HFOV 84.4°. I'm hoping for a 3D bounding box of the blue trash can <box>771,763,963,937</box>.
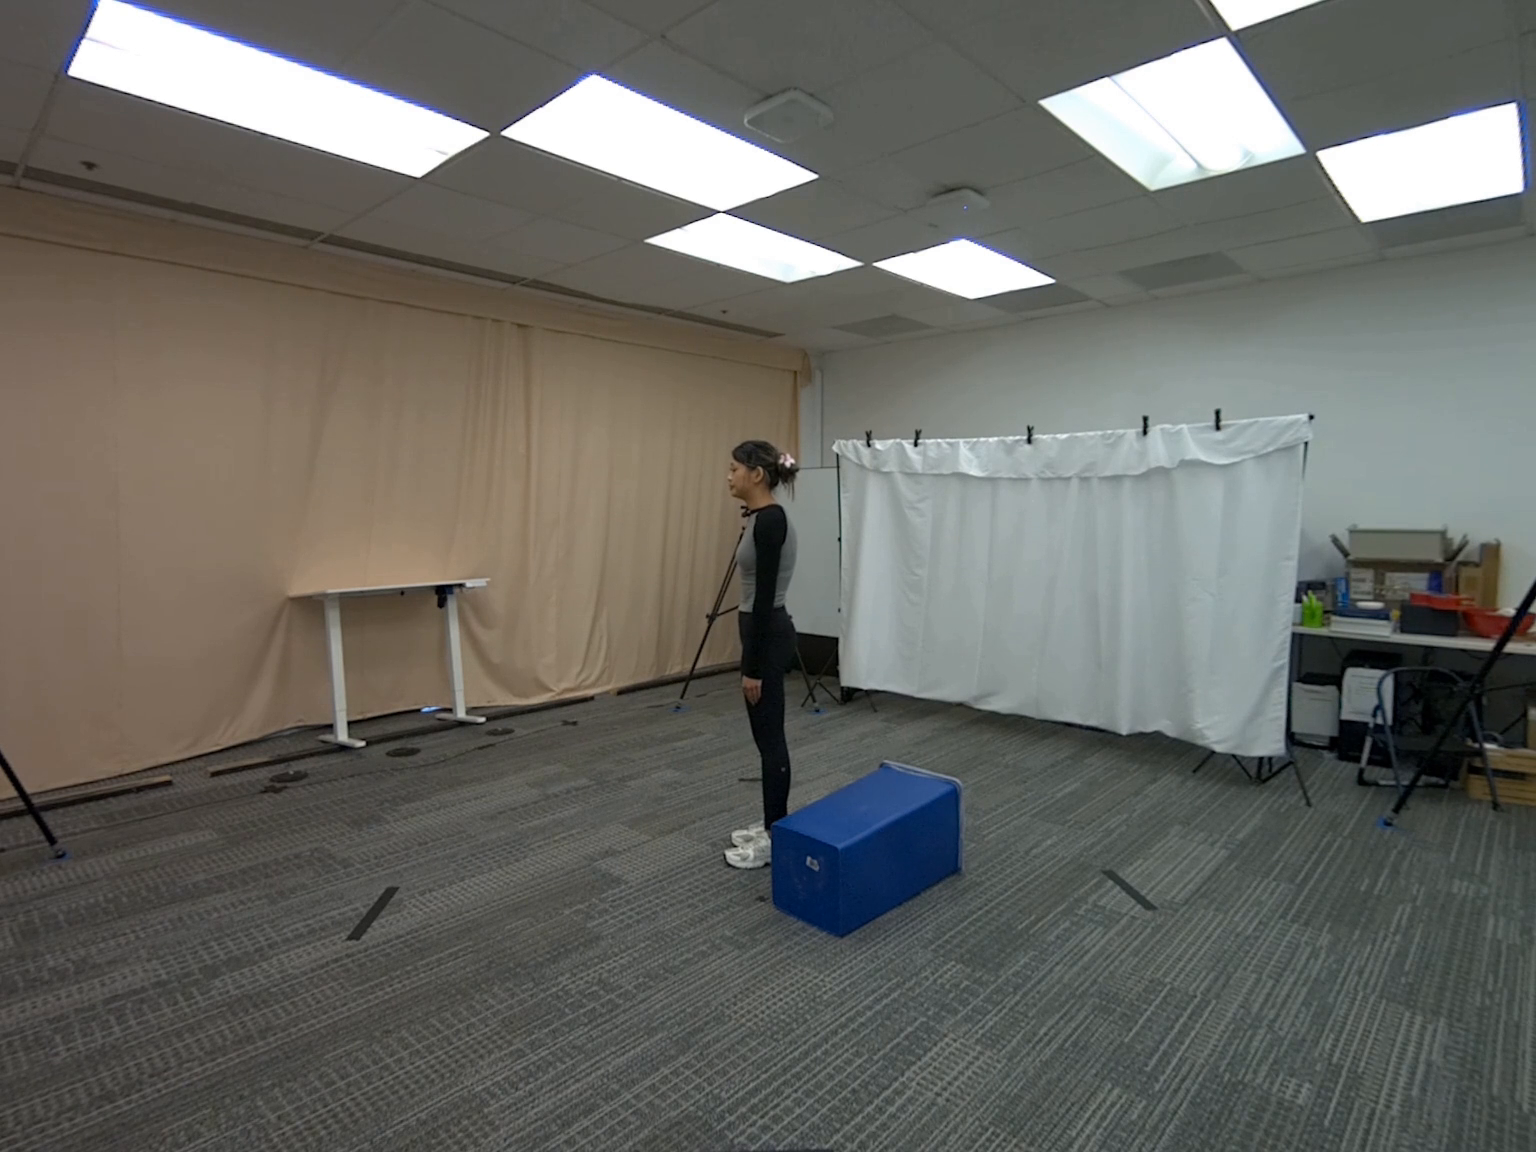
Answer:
[{"bbox_3d":[0.371,0.963,3.037,0.391,0.373,0.692,4,8,43],"label":"blue trash can"}]
